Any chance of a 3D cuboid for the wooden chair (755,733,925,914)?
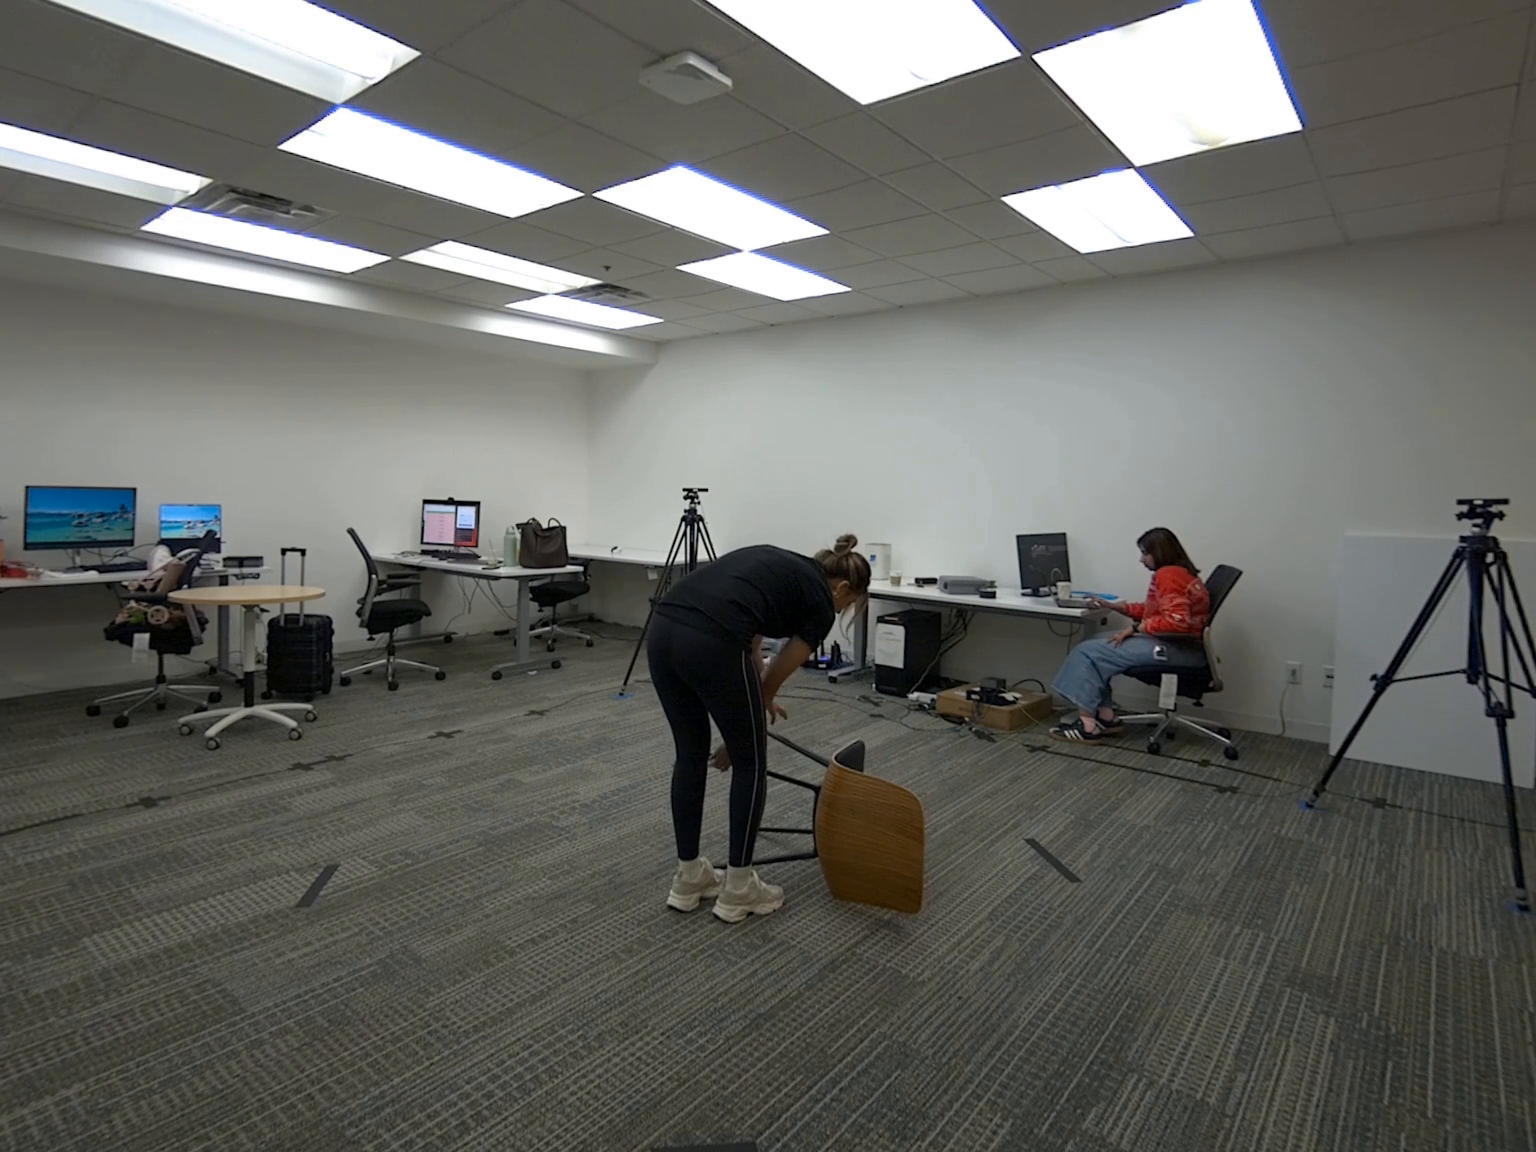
[{"bbox_3d":[0.220,0.850,3.075,0.904,0.477,0.509,3,4,31],"label":"wooden chair"}]
